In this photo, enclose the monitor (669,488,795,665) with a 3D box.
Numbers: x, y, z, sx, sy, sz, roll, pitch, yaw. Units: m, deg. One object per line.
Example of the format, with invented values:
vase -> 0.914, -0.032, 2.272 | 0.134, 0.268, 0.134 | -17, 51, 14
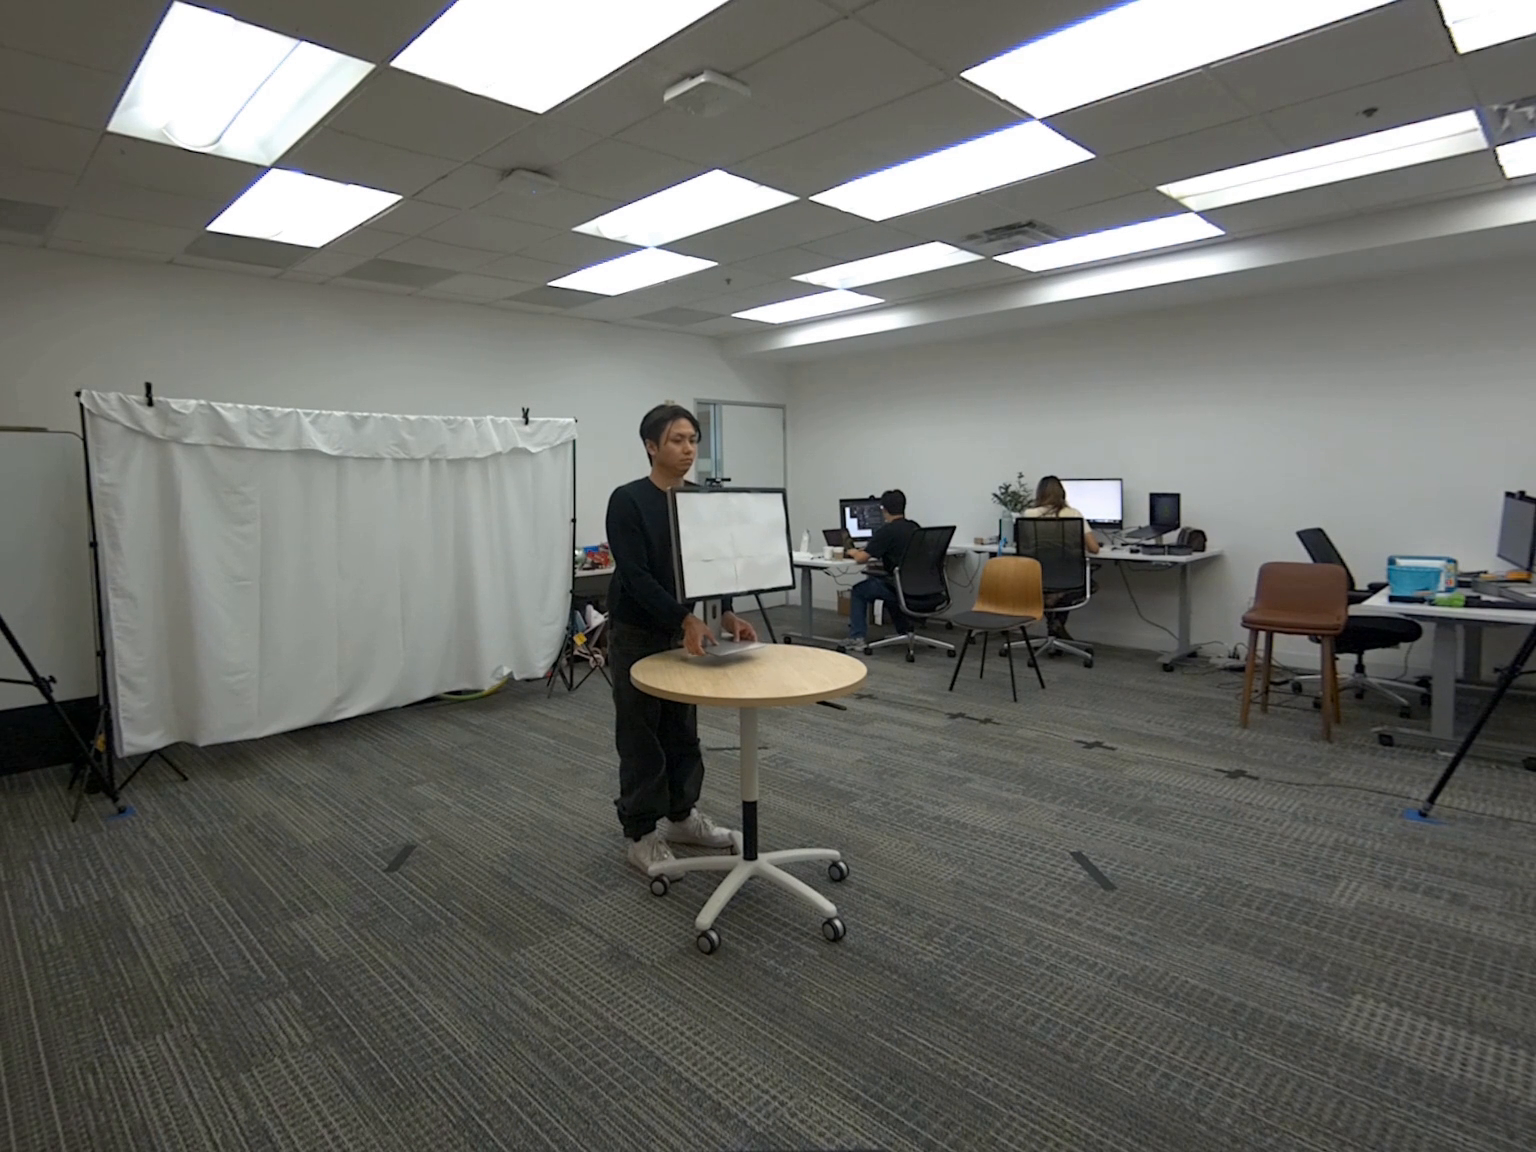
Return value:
monitor -> -0.143, -0.027, 2.876 | 0.193, 0.519, 0.525 | 10, 9, 39
